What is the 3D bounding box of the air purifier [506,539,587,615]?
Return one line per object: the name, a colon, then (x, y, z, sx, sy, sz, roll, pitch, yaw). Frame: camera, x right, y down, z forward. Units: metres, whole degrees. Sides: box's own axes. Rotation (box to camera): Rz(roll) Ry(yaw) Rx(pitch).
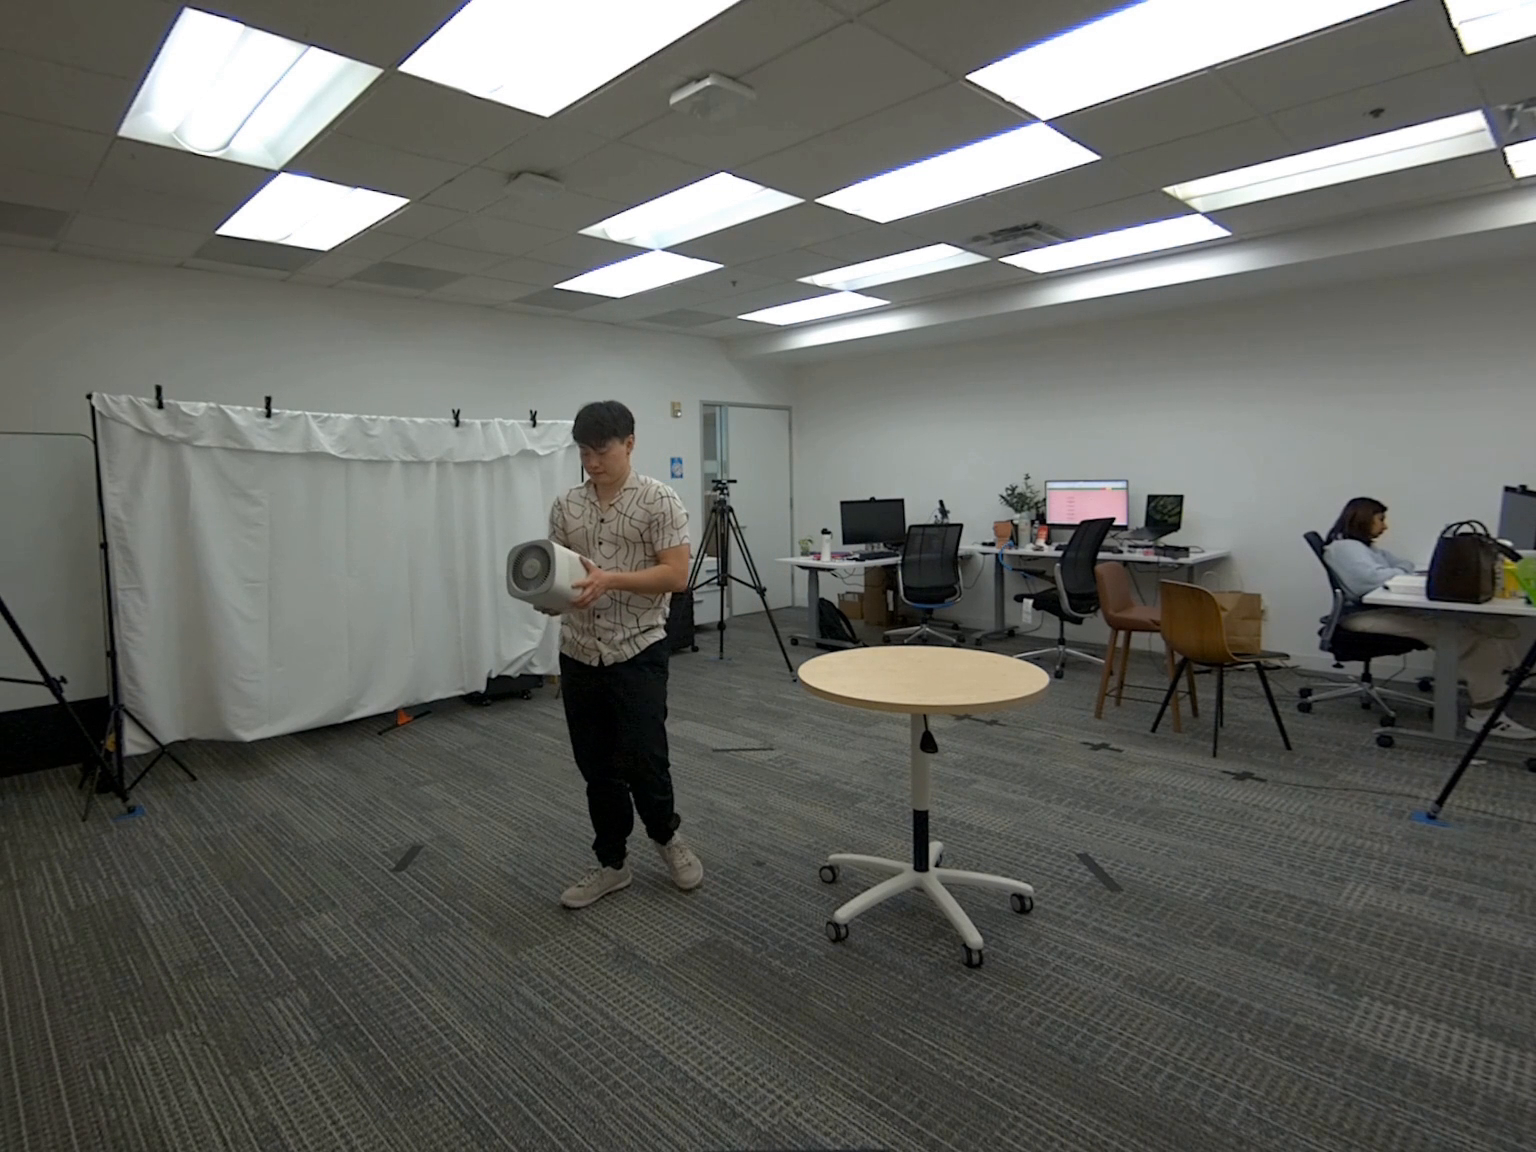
air purifier: (-0.655, 0.006, 2.633, 0.174, 0.174, 0.257, -9, -17, 19)
